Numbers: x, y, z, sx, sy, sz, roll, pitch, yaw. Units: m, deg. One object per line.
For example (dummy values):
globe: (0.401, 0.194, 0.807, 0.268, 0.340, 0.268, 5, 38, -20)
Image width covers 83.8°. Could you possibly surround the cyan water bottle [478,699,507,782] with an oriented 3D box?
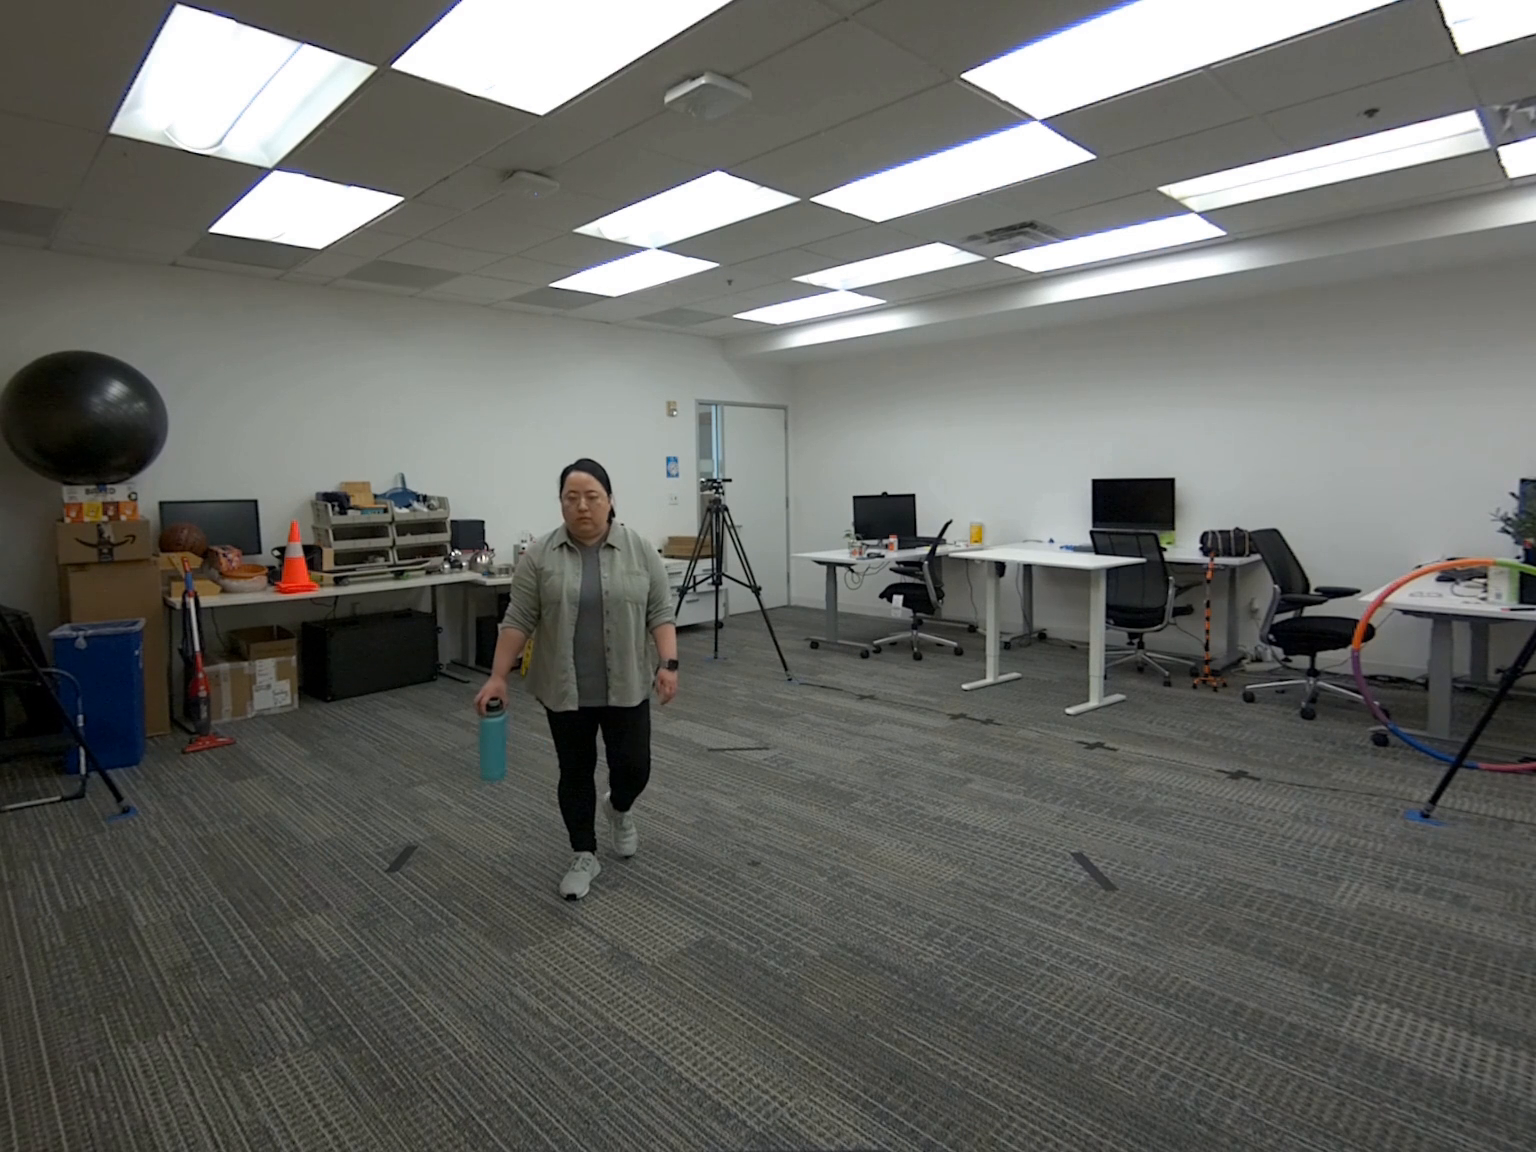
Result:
cyan water bottle: (-0.907, 0.539, 2.861, 0.092, 0.281, 0.093, 1, 11, -2)
